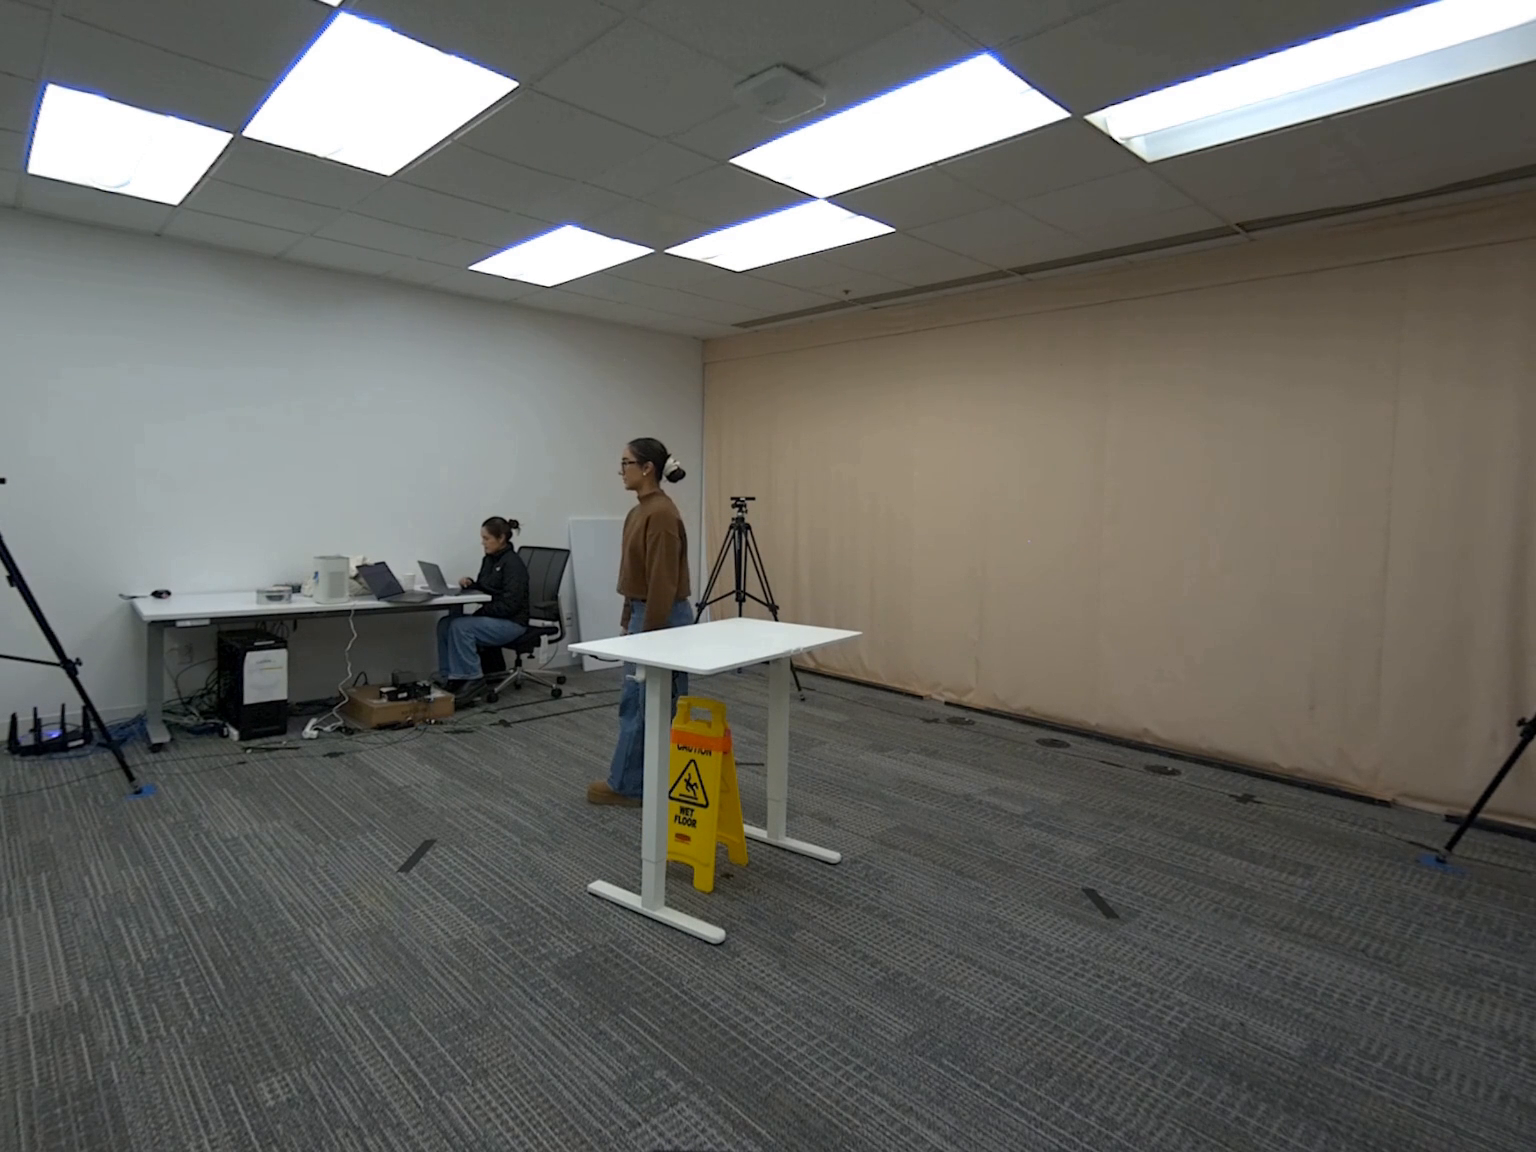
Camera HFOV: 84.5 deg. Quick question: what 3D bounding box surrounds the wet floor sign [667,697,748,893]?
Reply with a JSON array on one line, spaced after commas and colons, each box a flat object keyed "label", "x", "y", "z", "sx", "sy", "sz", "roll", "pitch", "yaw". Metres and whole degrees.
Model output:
[{"label": "wet floor sign", "x": -0.262, "y": 0.779, "z": 3.129, "sx": 0.288, "sy": 0.644, "sz": 0.284, "roll": 2, "pitch": 4, "yaw": 28}]
